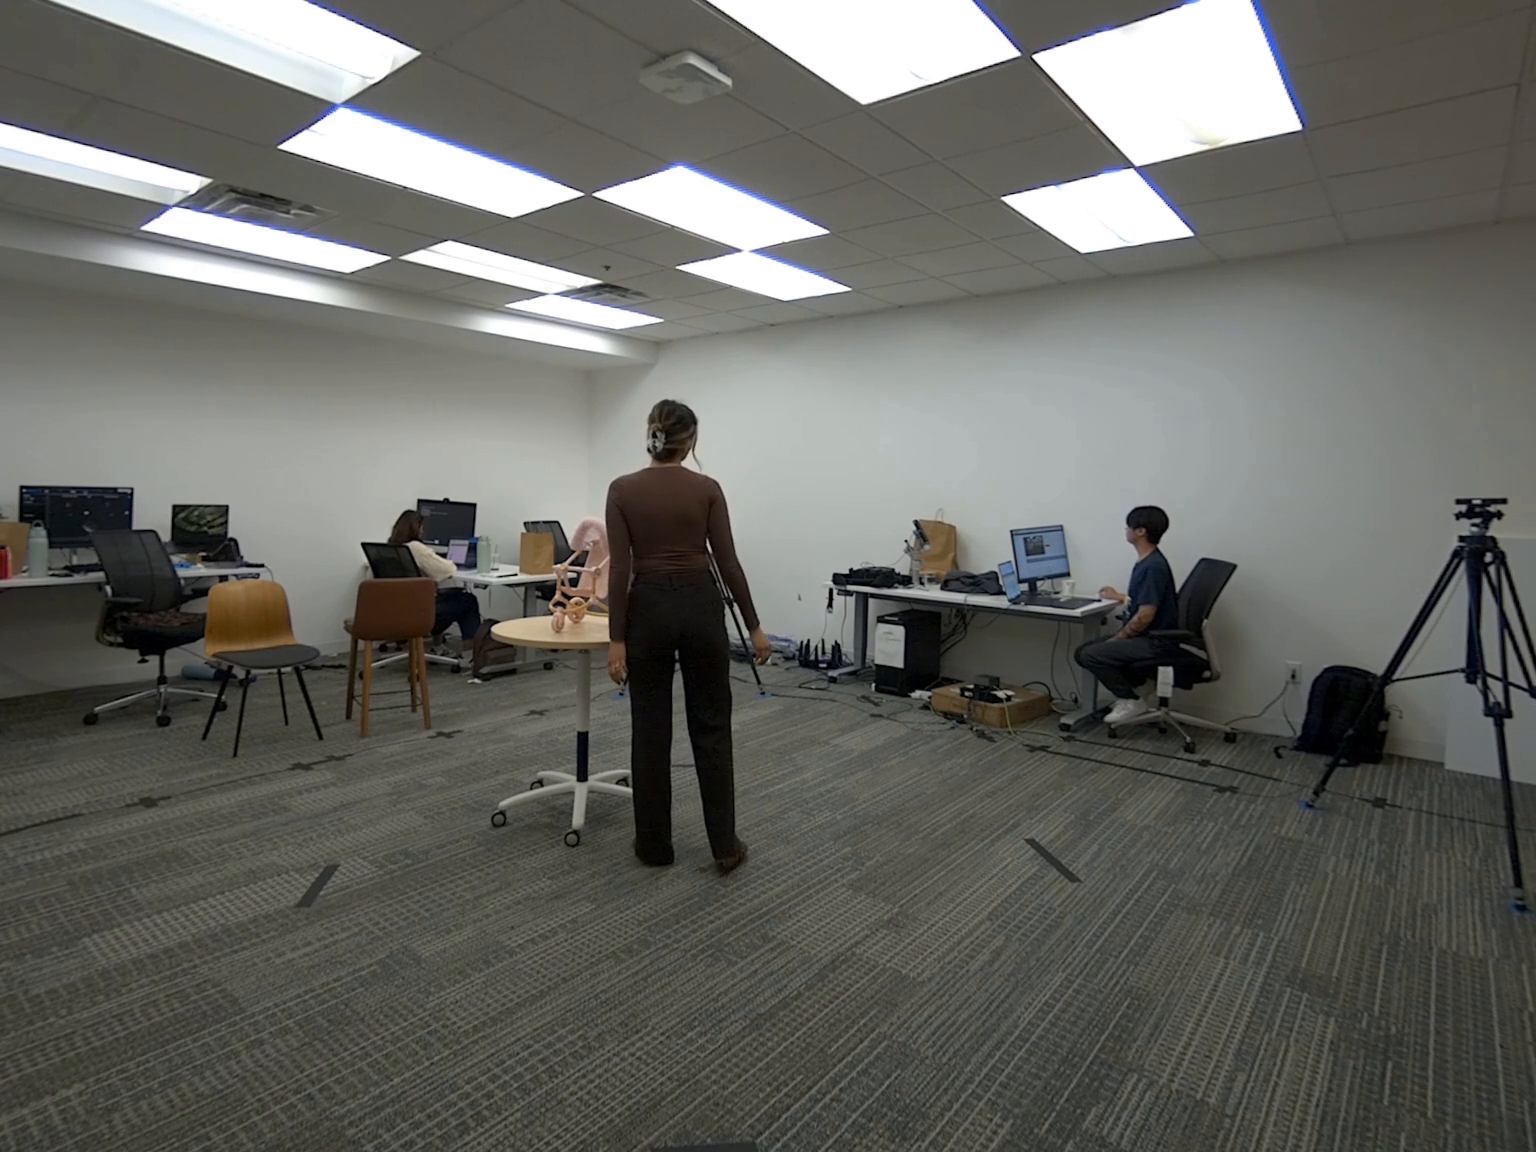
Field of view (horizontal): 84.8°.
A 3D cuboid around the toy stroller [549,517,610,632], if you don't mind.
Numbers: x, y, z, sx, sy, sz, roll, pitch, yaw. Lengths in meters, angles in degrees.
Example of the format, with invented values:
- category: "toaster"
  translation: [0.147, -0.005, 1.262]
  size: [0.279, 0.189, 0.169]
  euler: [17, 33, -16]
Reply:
- category: "toy stroller"
  translation: [-0.780, -0.011, 3.613]
  size: [0.290, 0.539, 0.328]
  euler: [3, -10, 34]
